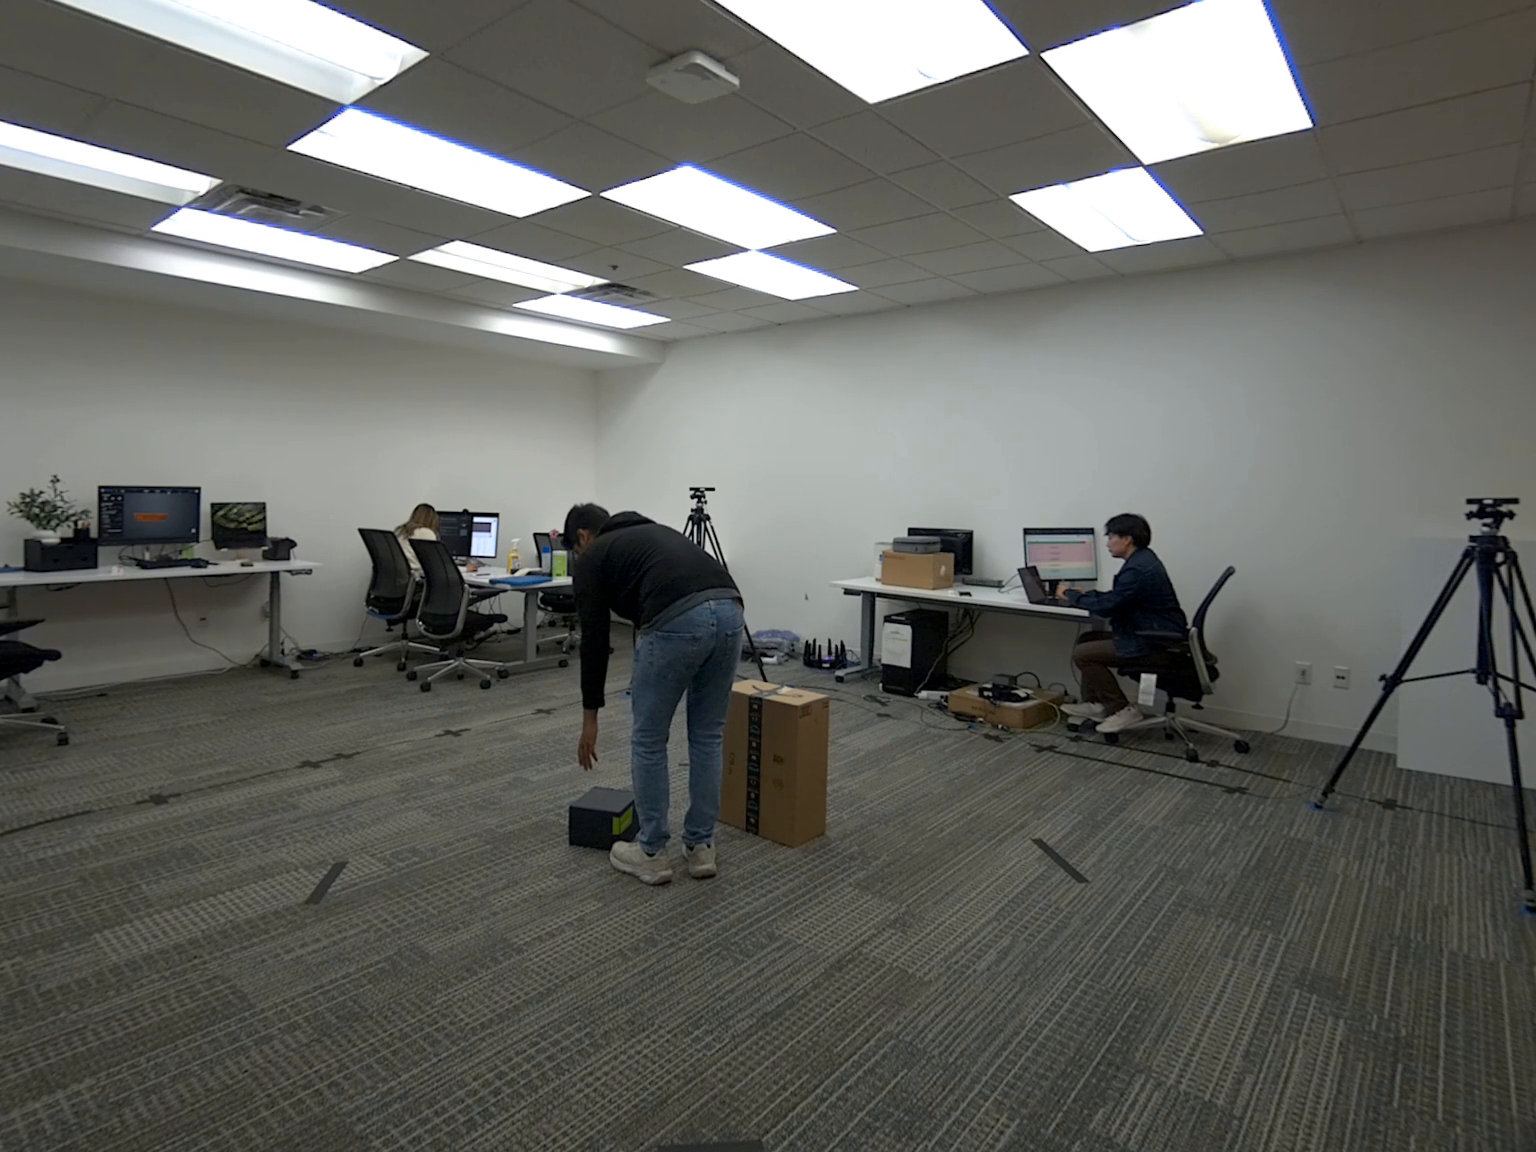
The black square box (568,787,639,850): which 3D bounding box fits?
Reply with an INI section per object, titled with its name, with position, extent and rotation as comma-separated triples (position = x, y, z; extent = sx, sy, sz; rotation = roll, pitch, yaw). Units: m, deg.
[black square box]
position = -0.650, 0.948, 3.362
extent = 0.220, 0.155, 0.225
rotation = 2, 5, 14
